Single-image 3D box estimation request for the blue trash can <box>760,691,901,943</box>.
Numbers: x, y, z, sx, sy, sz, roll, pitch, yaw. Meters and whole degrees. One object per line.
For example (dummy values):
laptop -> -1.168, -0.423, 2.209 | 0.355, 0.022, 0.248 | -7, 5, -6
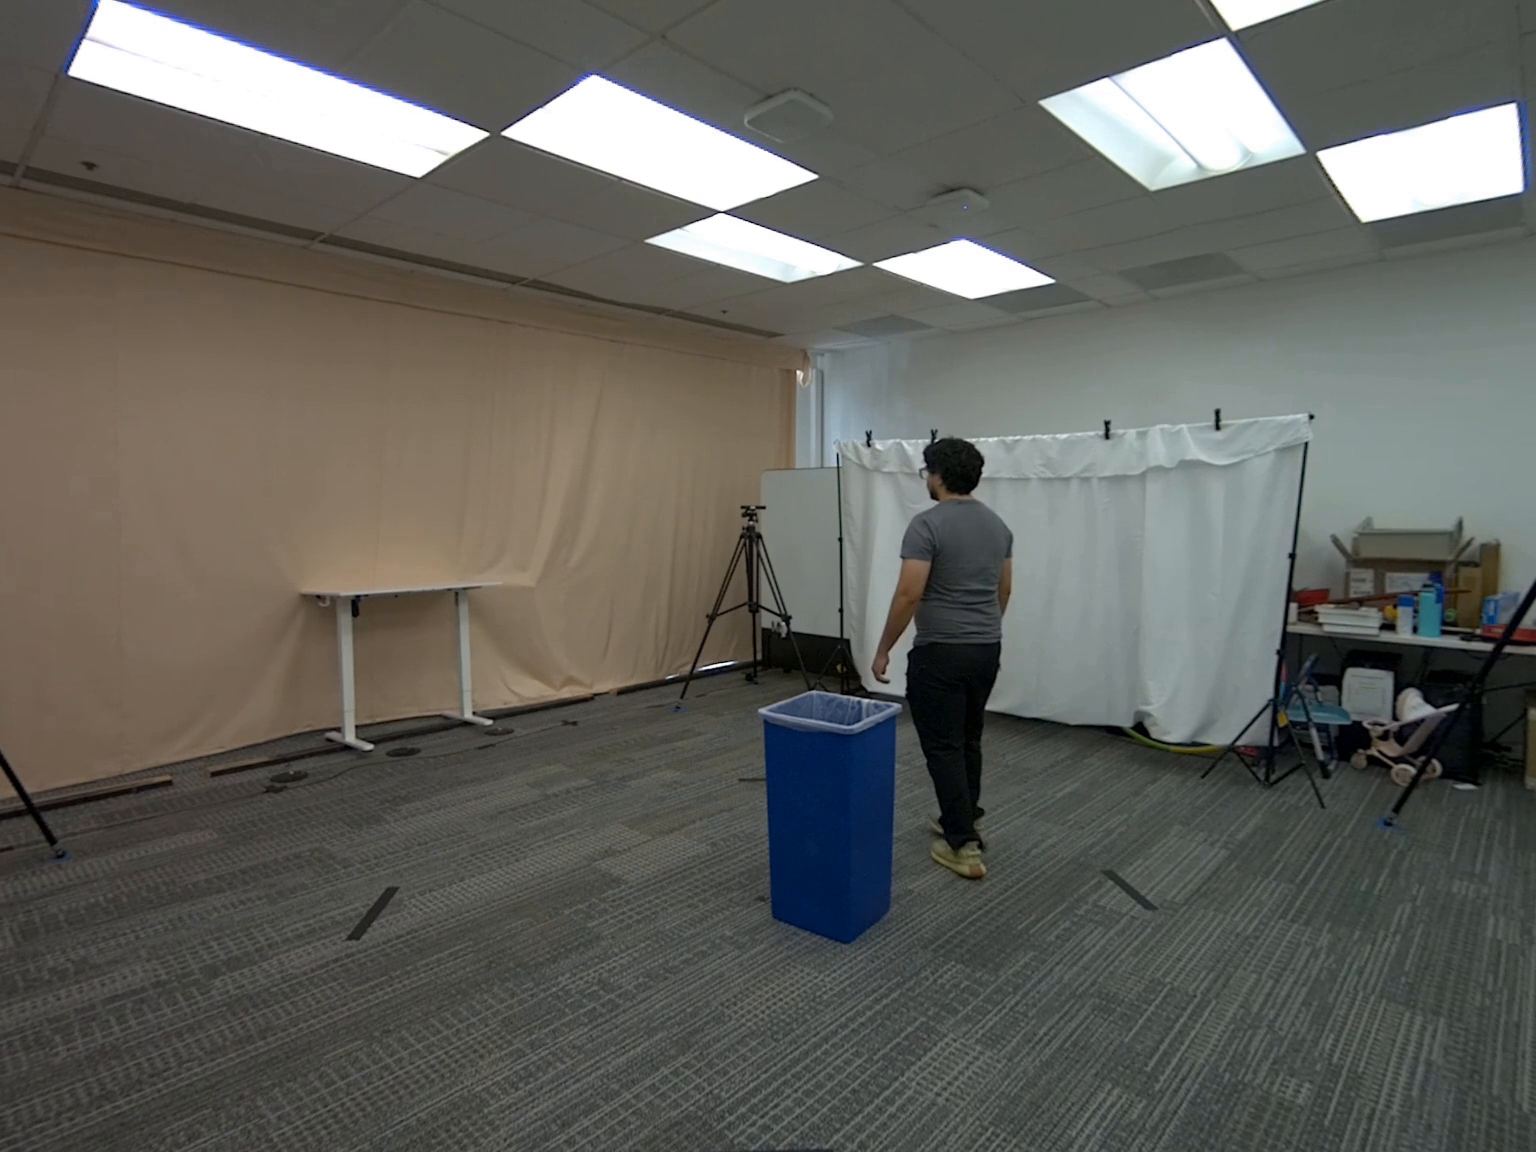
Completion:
blue trash can -> 0.216, 0.797, 2.844 | 0.390, 0.712, 0.363 | 2, 4, 37
